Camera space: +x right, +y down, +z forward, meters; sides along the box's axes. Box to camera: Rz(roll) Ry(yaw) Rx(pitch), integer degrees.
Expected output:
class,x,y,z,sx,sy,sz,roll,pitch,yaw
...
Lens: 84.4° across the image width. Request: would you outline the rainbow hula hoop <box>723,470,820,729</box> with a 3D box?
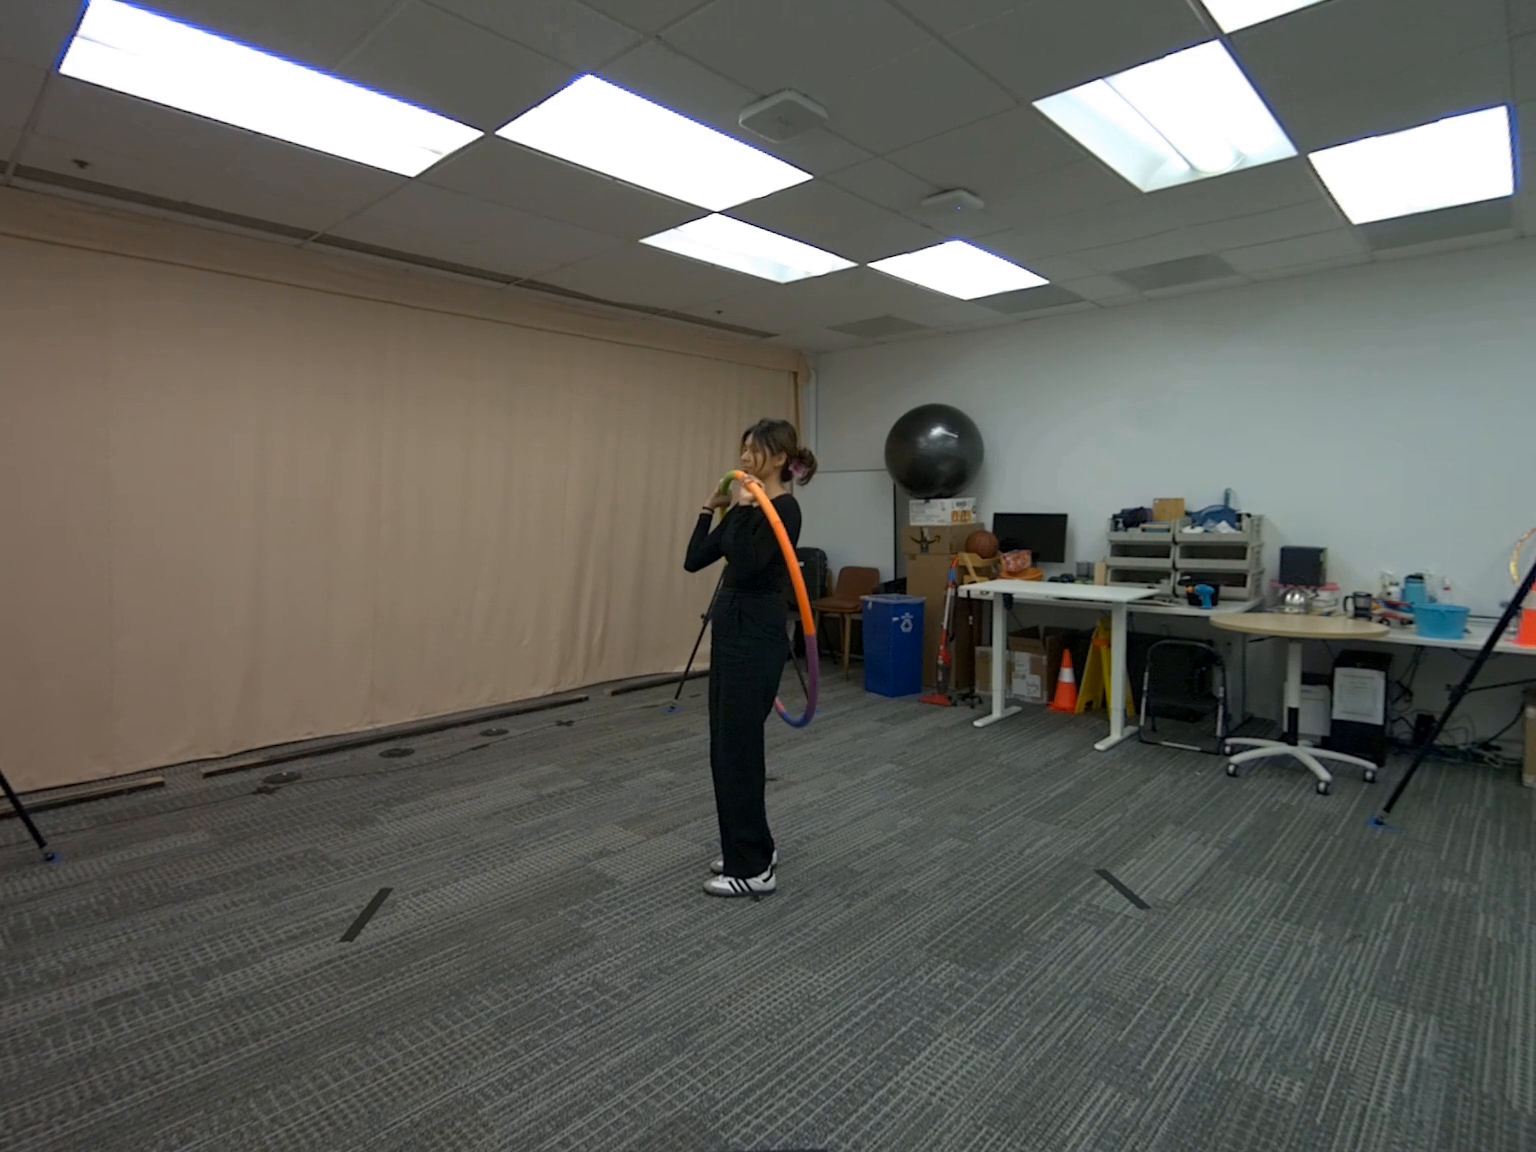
class,x,y,z,sx,sy,sz,roll,pitch,yaw
rainbow hula hoop,-0.008,0.079,3.151,0.035,0.973,0.995,-15,7,-13
